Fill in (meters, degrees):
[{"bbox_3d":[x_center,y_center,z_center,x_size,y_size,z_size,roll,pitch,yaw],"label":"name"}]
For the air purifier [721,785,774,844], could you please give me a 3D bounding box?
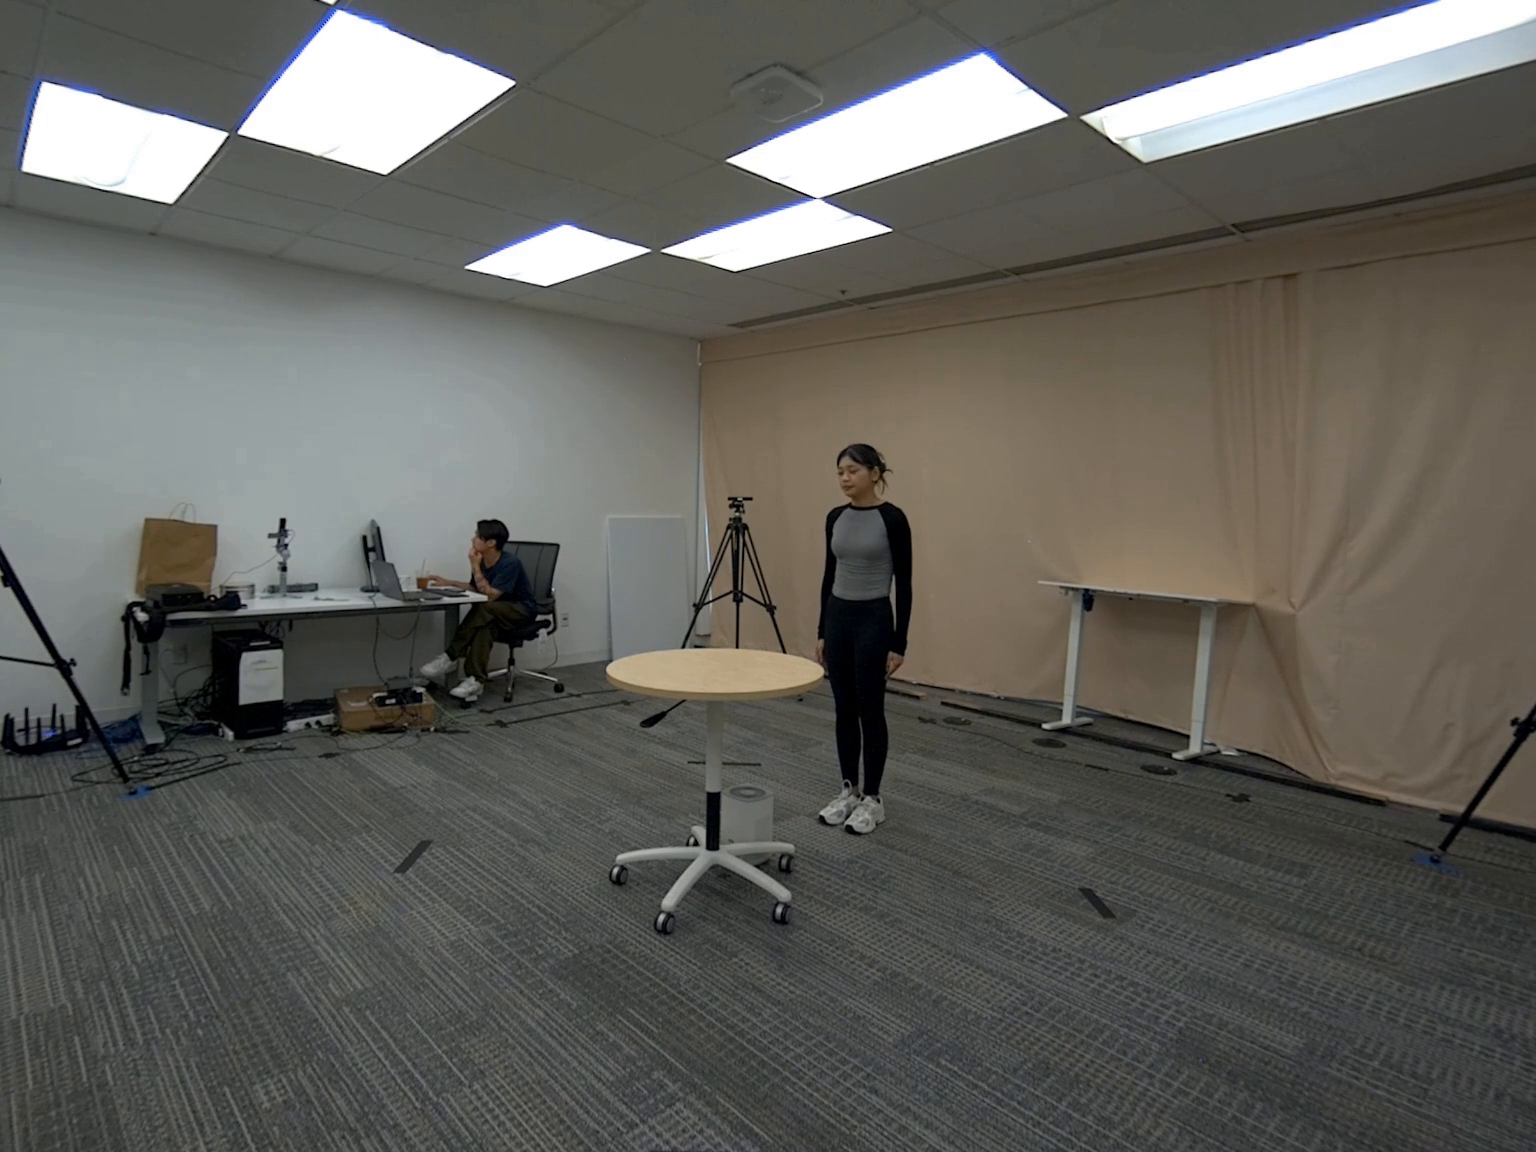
[{"bbox_3d":[-0.088,0.962,3.251,0.175,0.265,0.168,4,5,41],"label":"air purifier"}]
